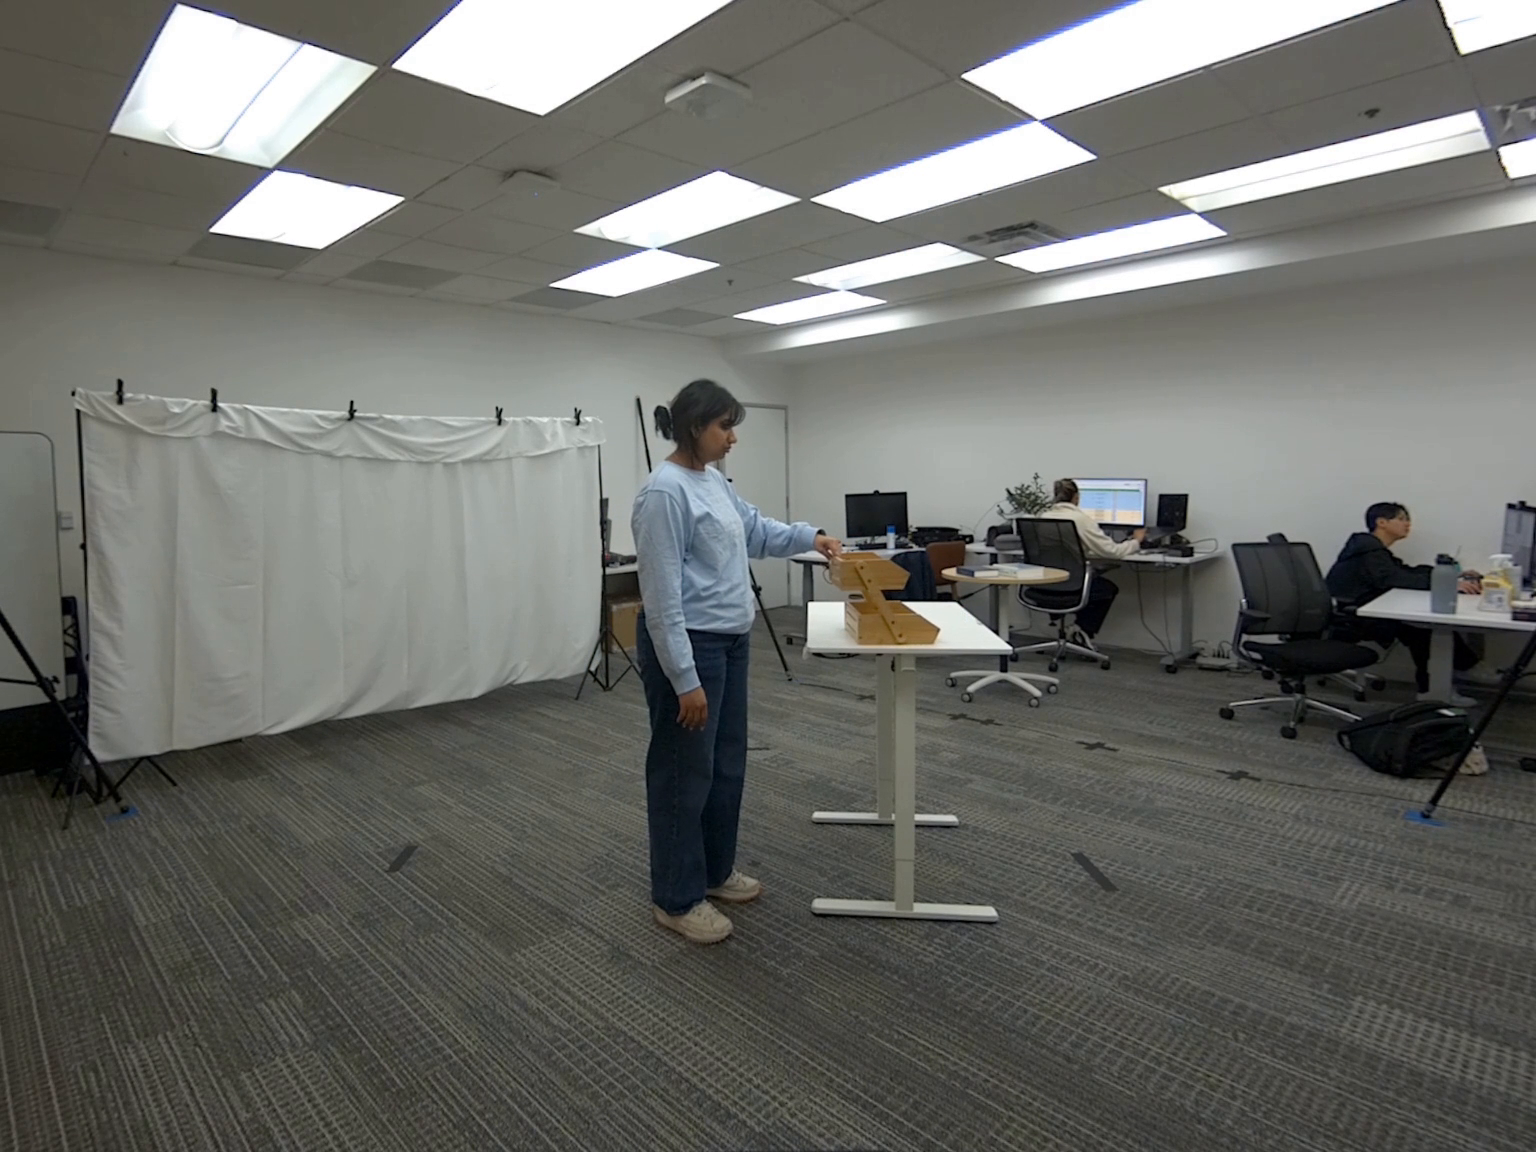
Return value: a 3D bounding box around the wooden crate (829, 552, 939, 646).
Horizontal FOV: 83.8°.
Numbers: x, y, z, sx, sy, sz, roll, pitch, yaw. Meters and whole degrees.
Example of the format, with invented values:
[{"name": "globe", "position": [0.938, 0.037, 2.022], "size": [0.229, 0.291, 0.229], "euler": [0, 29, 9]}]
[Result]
[{"name": "wooden crate", "position": [0.363, 0.062, 2.740], "size": [0.302, 0.272, 0.326], "euler": [-2, 4, -2]}]
